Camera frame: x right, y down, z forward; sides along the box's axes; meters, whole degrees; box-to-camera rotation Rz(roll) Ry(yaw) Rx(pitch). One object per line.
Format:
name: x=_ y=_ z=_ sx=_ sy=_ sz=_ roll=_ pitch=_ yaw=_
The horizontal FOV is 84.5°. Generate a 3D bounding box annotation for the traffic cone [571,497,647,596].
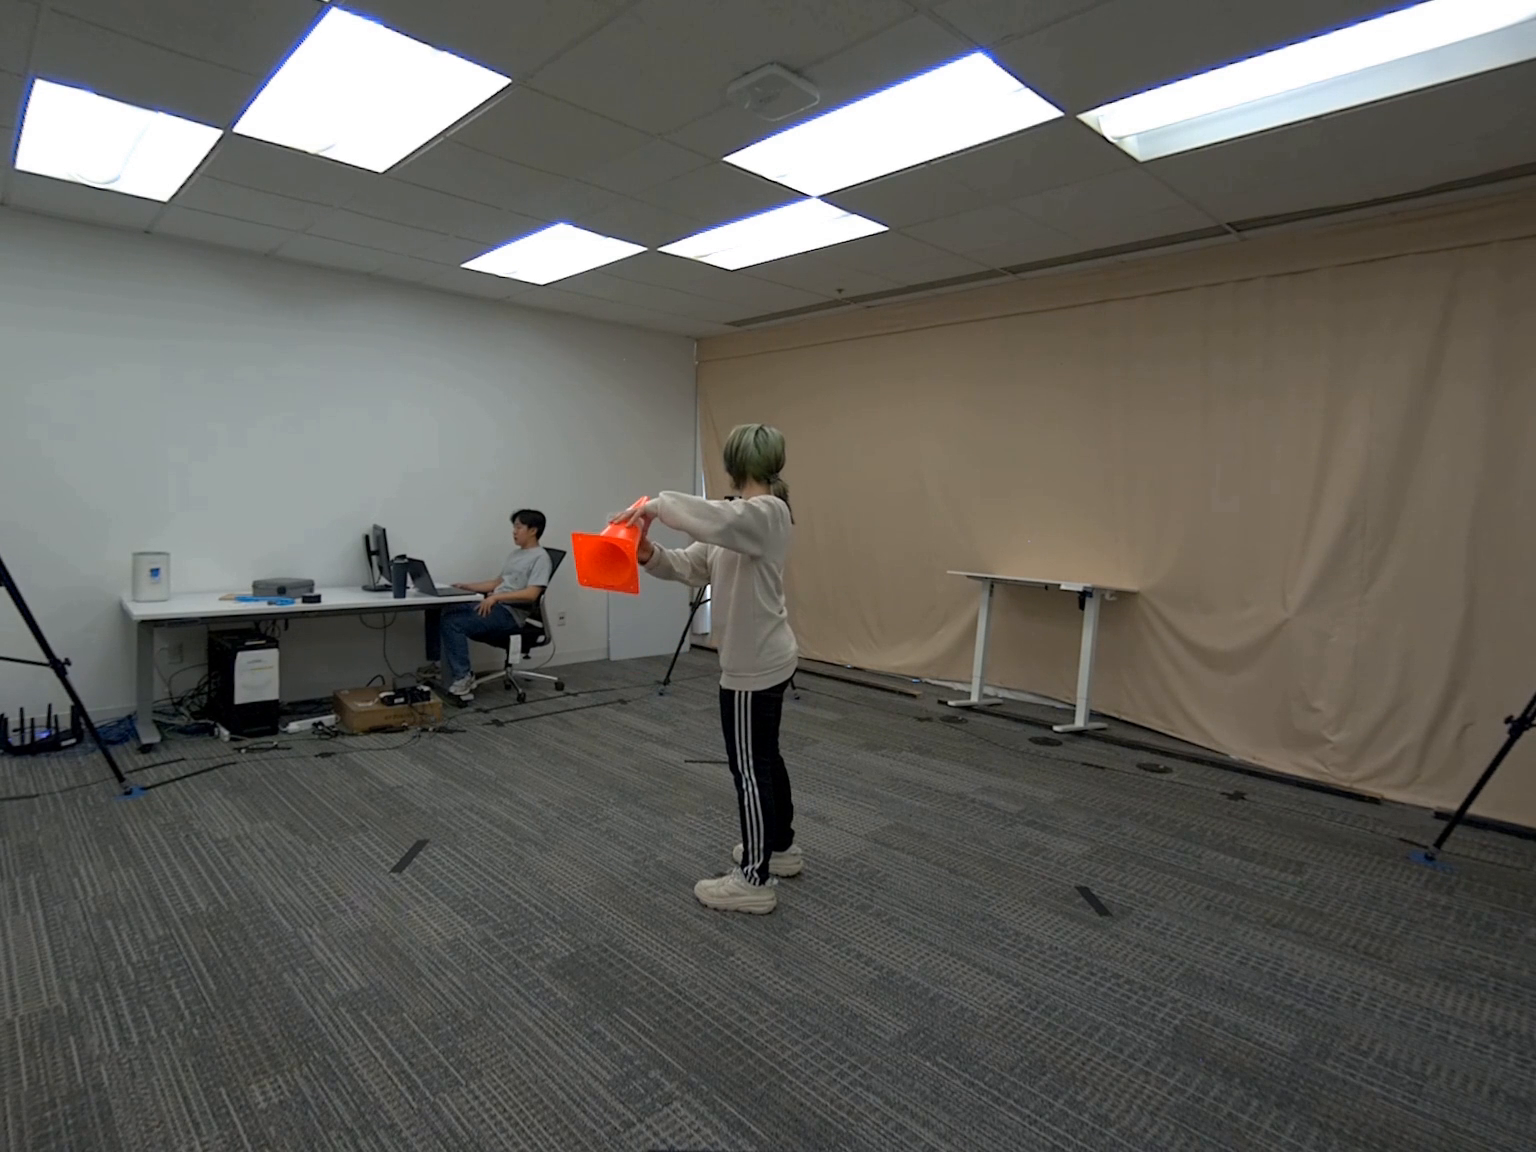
traffic cone: x=-0.443 y=-0.123 z=2.641 sx=0.206 sy=0.200 sz=0.387 roll=7 pitch=35 yaw=13
